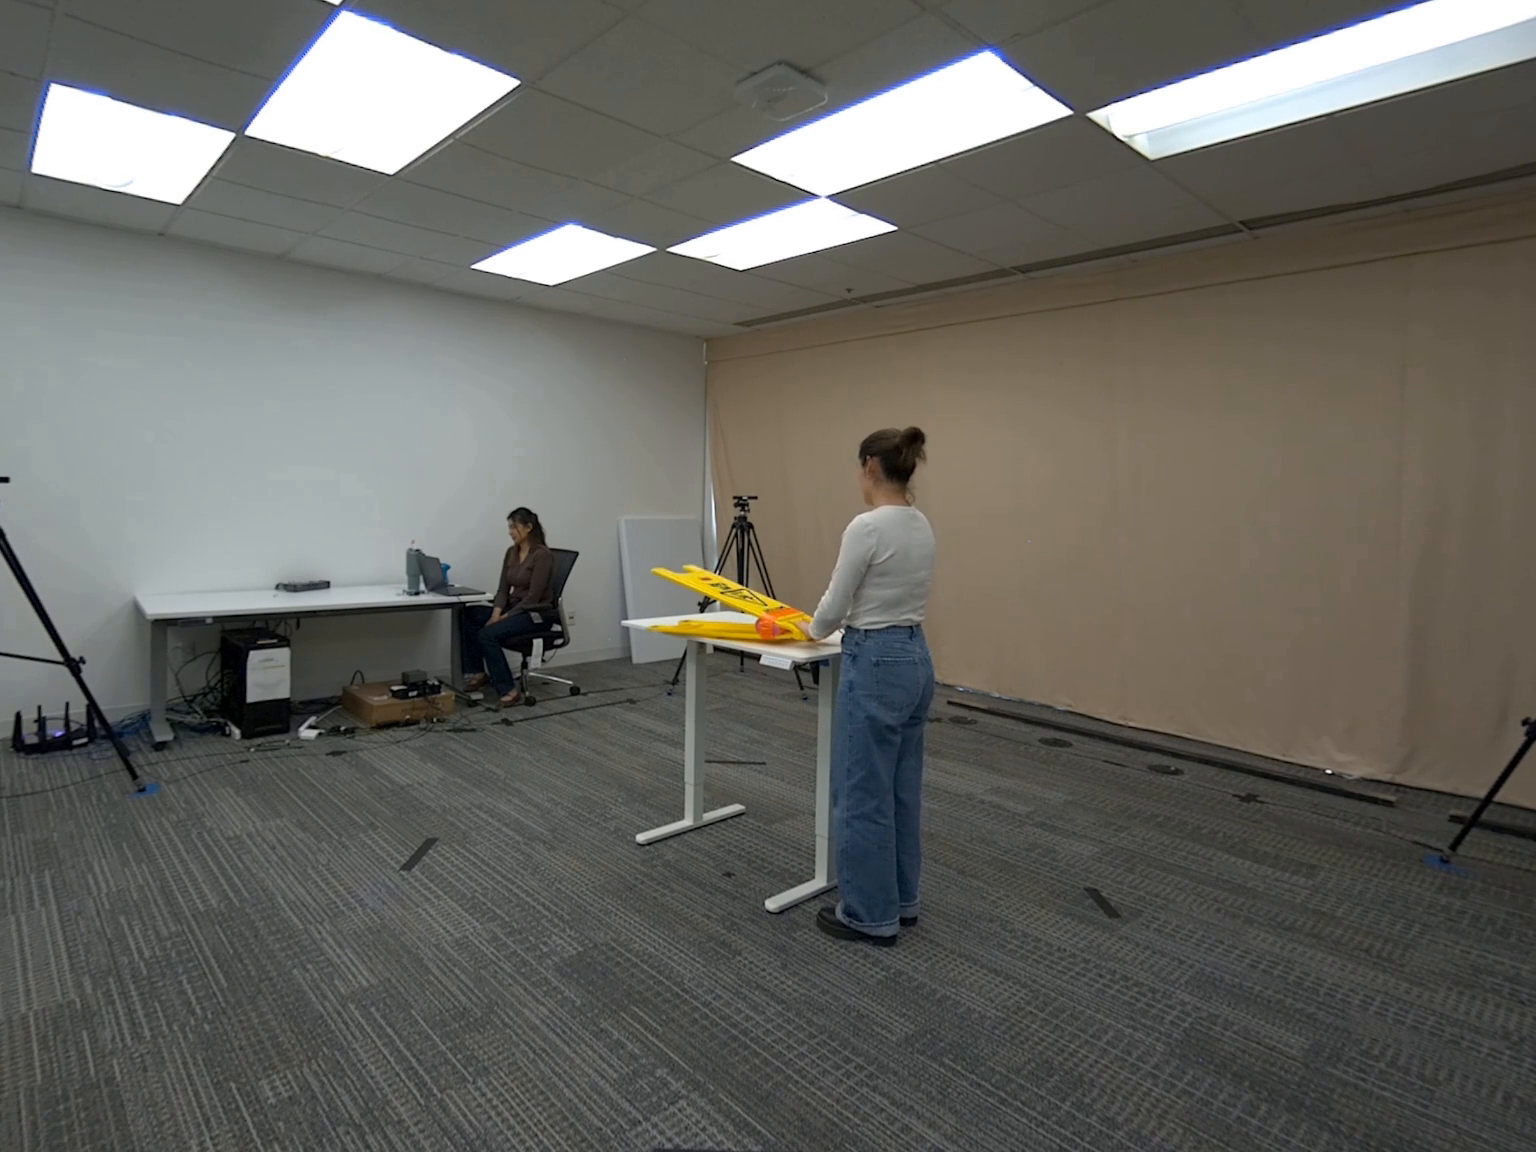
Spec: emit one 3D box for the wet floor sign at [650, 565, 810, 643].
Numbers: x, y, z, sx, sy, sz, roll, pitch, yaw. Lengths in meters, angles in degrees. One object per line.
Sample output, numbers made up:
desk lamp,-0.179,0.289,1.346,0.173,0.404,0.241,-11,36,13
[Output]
wet floor sign,-0.097,0.151,3.082,0.662,0.288,0.276,11,9,31
